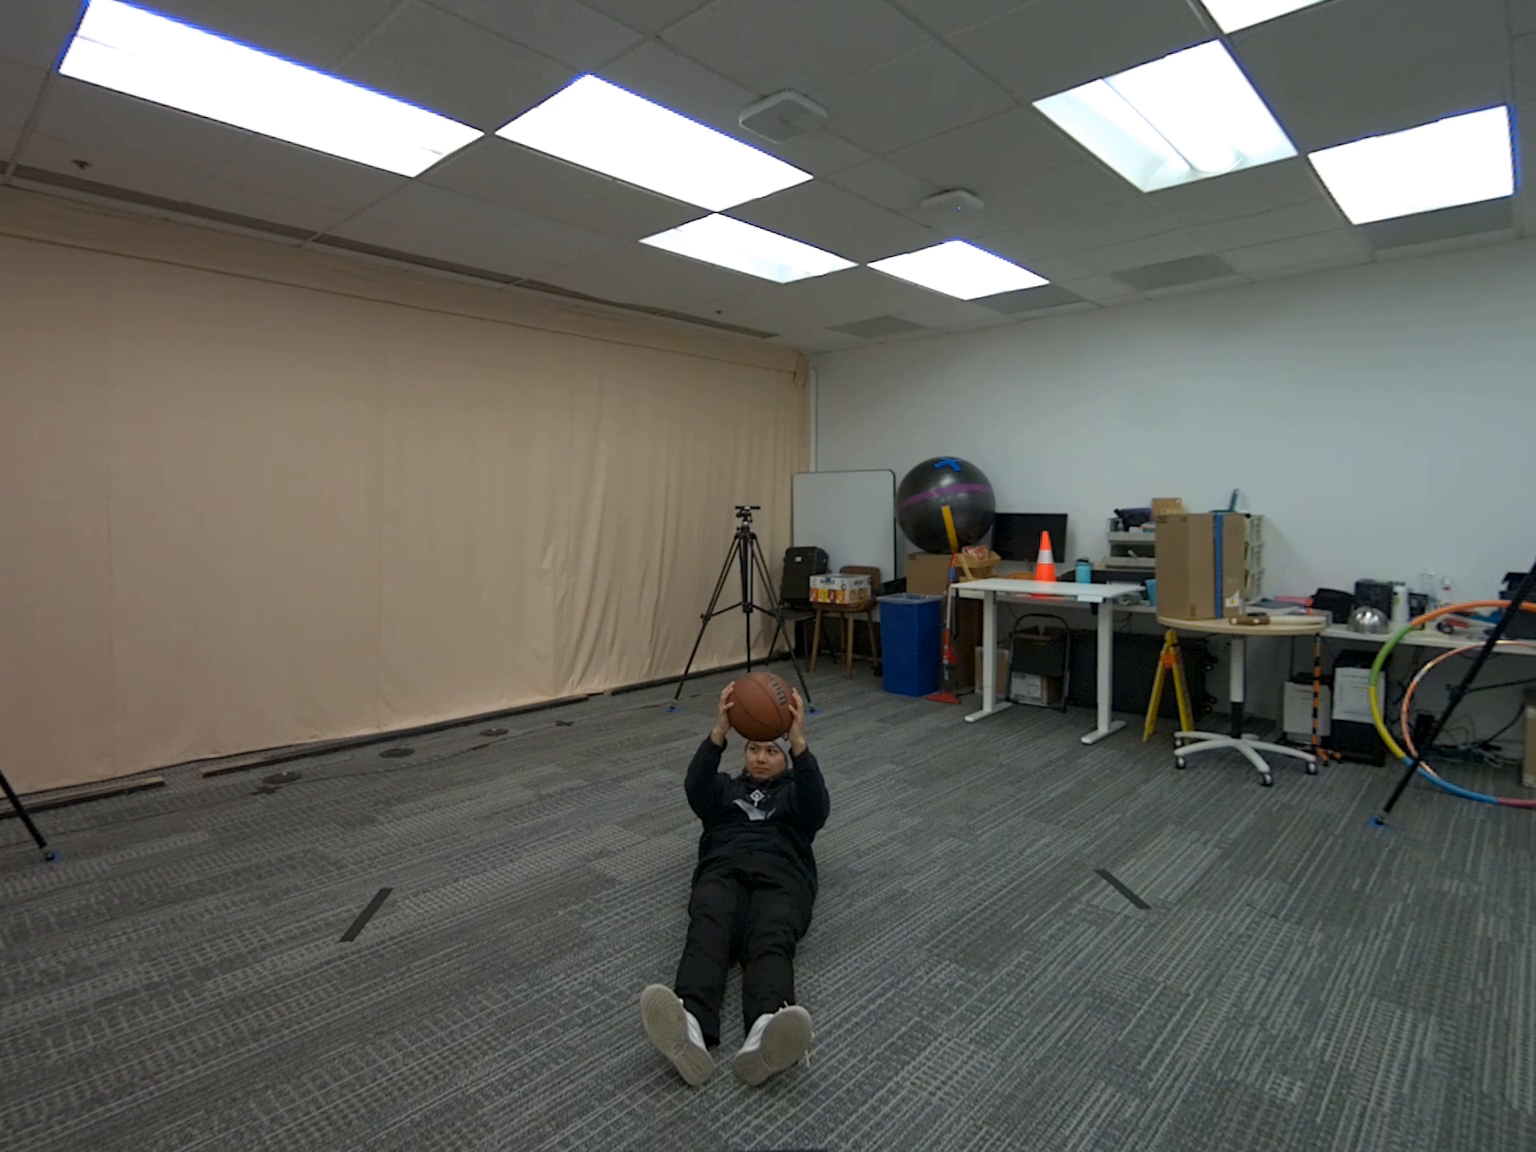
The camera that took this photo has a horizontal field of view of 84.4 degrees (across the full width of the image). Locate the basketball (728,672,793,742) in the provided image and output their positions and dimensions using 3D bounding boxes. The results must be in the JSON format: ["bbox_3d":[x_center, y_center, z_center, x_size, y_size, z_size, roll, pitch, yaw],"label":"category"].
[{"bbox_3d":[-0.022,0.441,2.862,0.236,0.235,0.237,0,4,-2],"label":"basketball"}]
